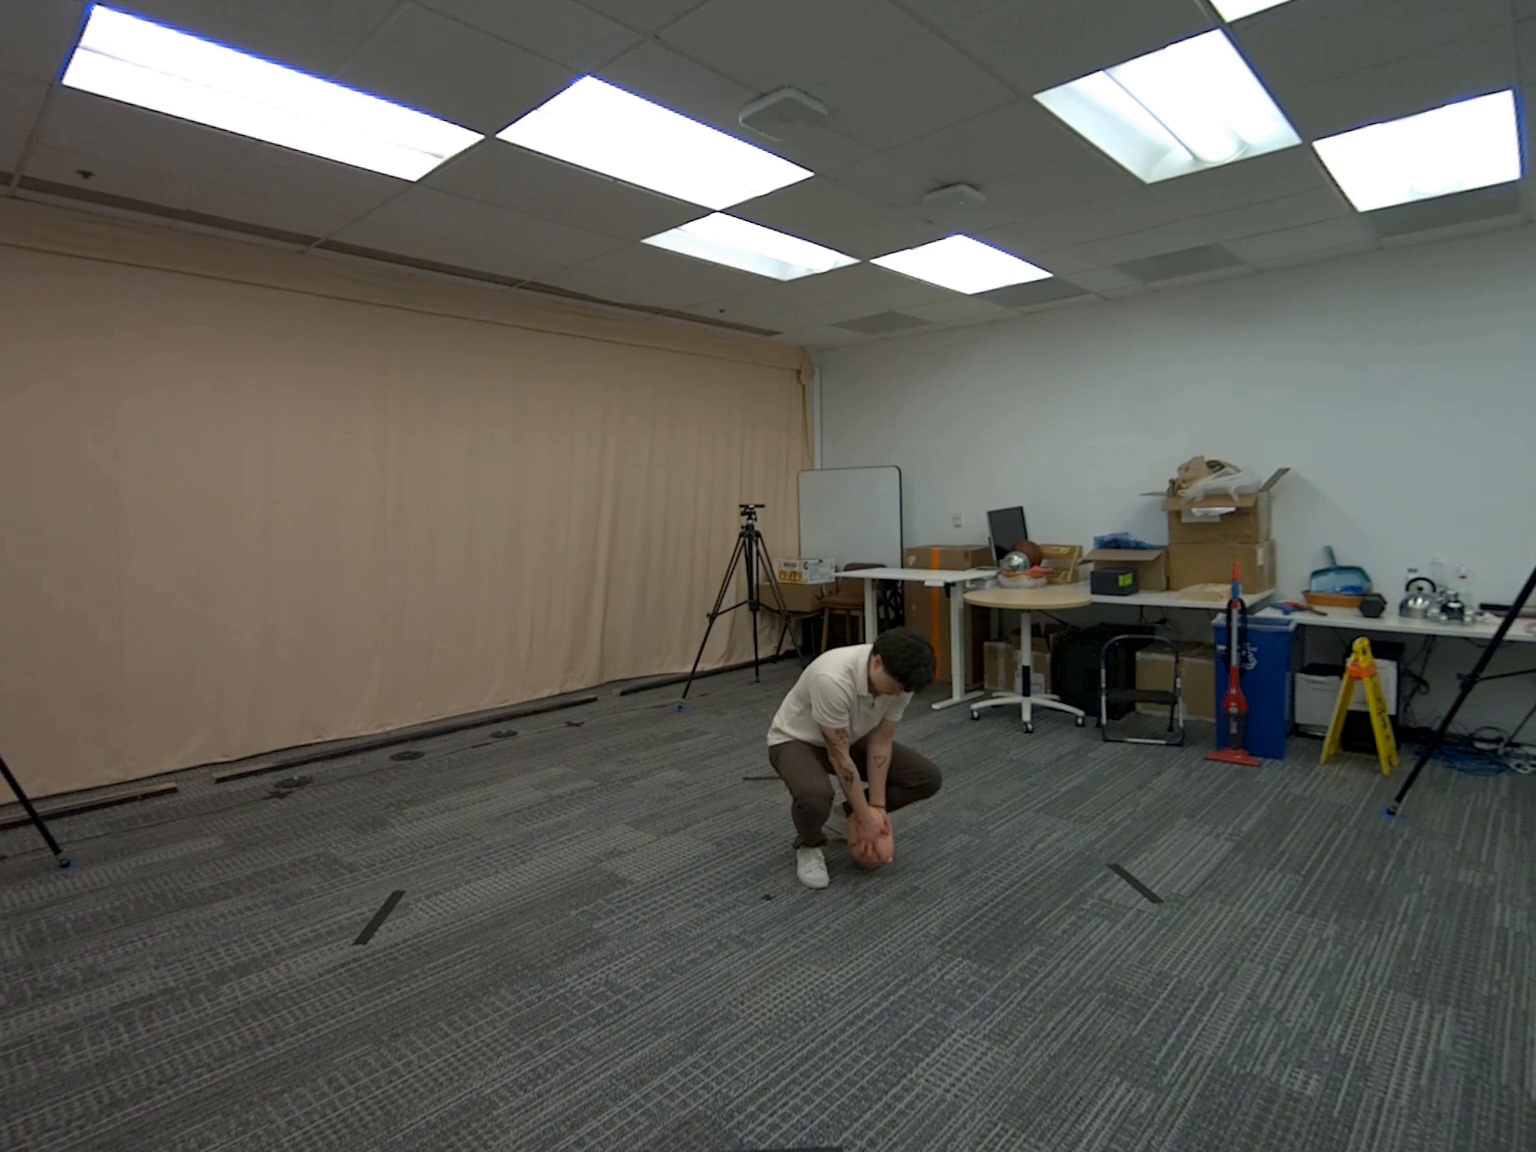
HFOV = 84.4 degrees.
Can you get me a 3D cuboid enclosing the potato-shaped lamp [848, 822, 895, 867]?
[{"bbox_3d":[0.384,0.956,3.159,0.173,0.198,0.163,-4,-1,8],"label":"potato-shaped lamp"}]
